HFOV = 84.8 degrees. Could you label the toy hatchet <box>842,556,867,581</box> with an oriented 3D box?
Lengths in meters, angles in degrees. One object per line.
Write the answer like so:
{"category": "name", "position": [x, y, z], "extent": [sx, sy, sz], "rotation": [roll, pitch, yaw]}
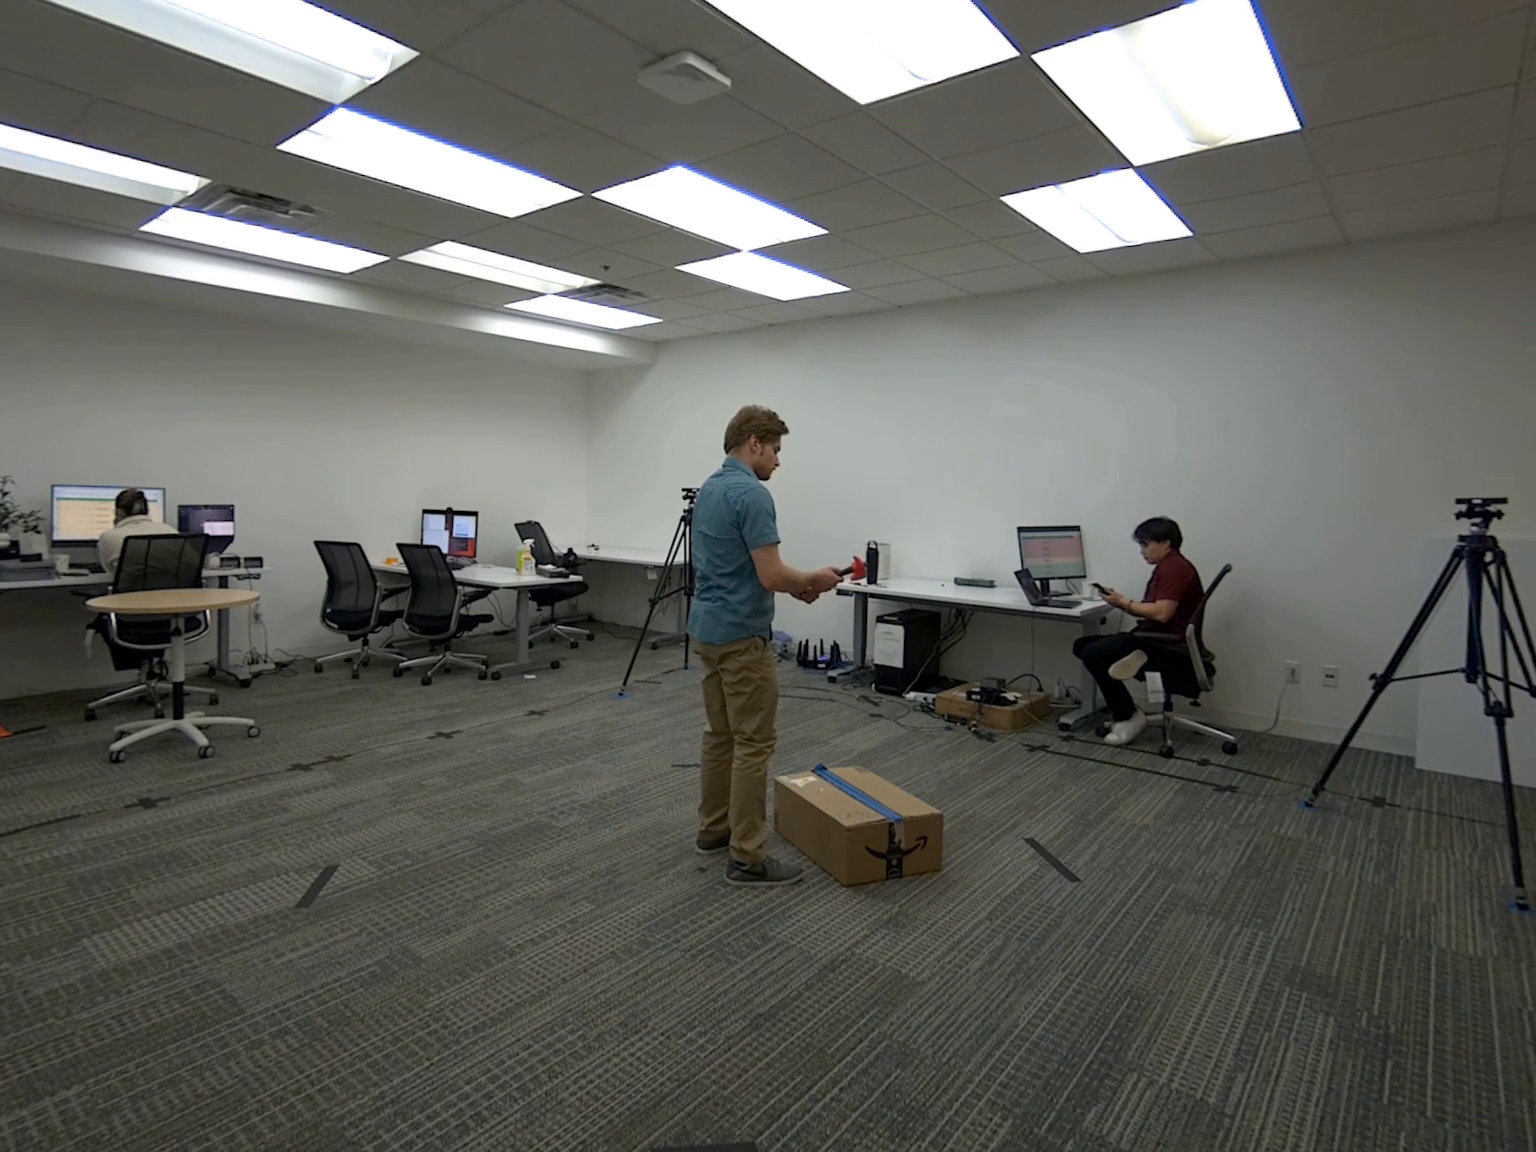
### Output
{"category": "toy hatchet", "position": [0.241, 0.028, 3.199], "extent": [0.272, 0.030, 0.126], "rotation": [-35, -52, 21]}
